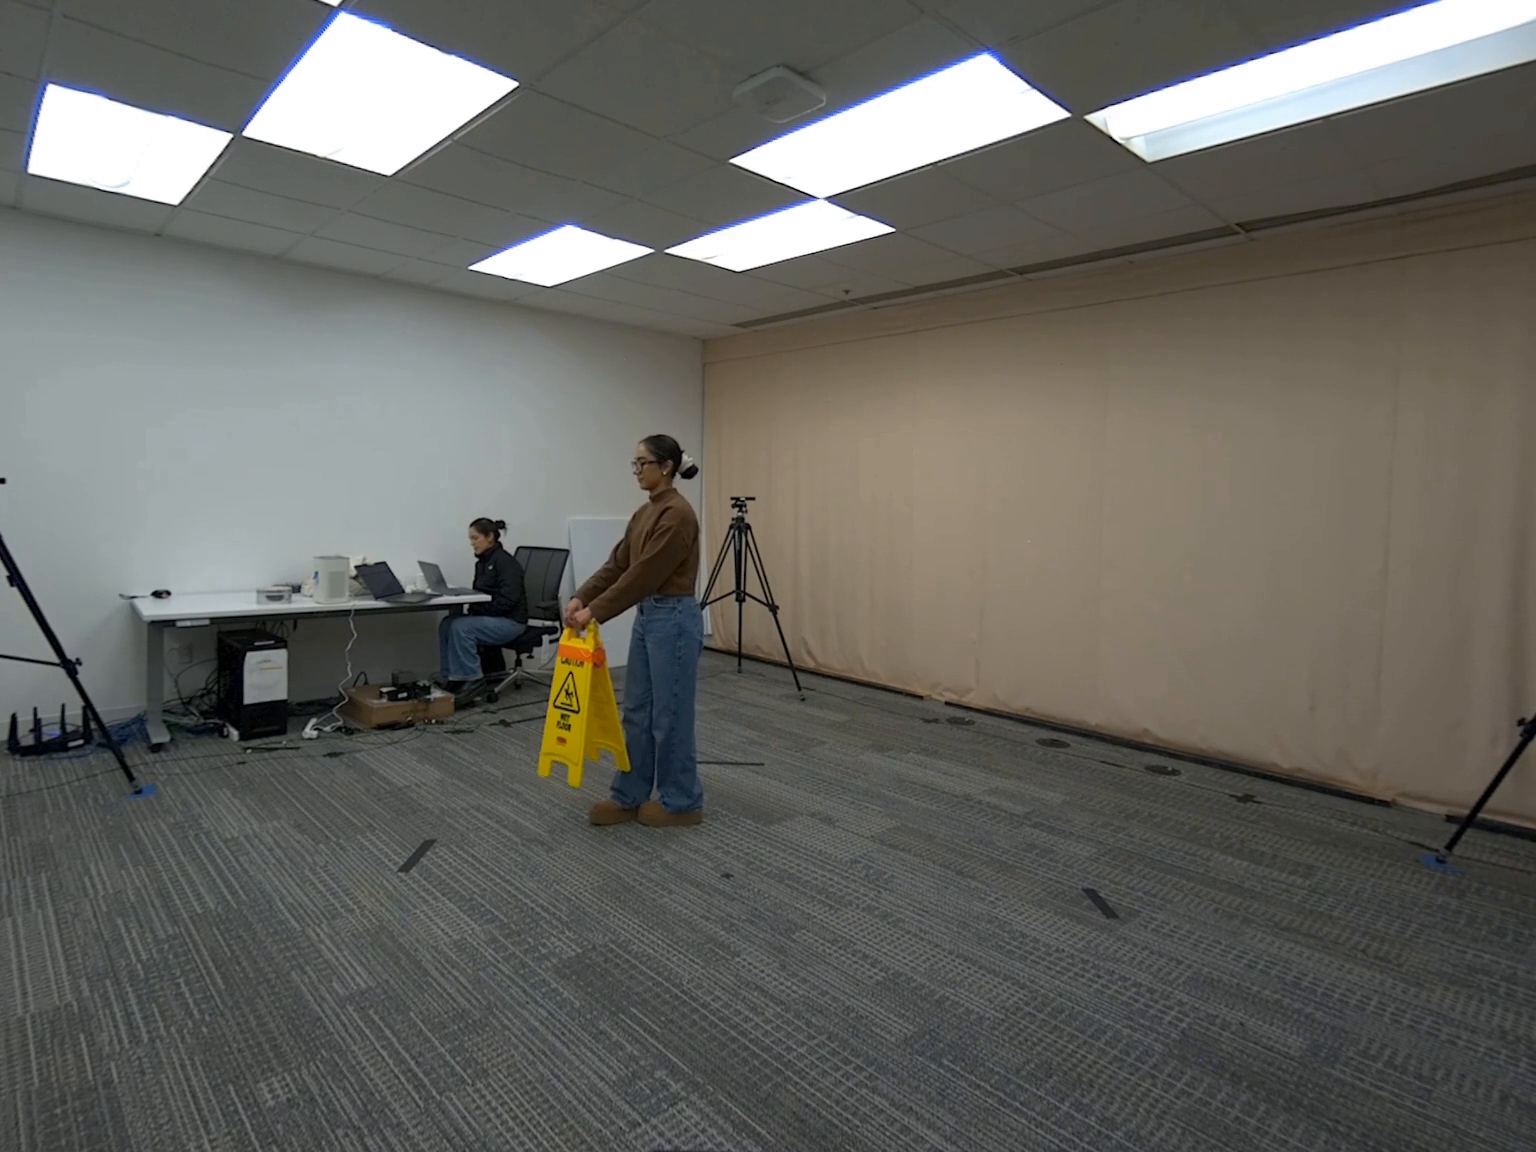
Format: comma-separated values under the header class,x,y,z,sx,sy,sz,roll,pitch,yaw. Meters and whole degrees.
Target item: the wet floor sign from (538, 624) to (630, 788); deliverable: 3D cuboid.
class,x,y,z,sx,sy,sz,roll,pitch,yaw
wet floor sign,-0.779,0.497,3.484,0.289,0.644,0.283,1,5,41
